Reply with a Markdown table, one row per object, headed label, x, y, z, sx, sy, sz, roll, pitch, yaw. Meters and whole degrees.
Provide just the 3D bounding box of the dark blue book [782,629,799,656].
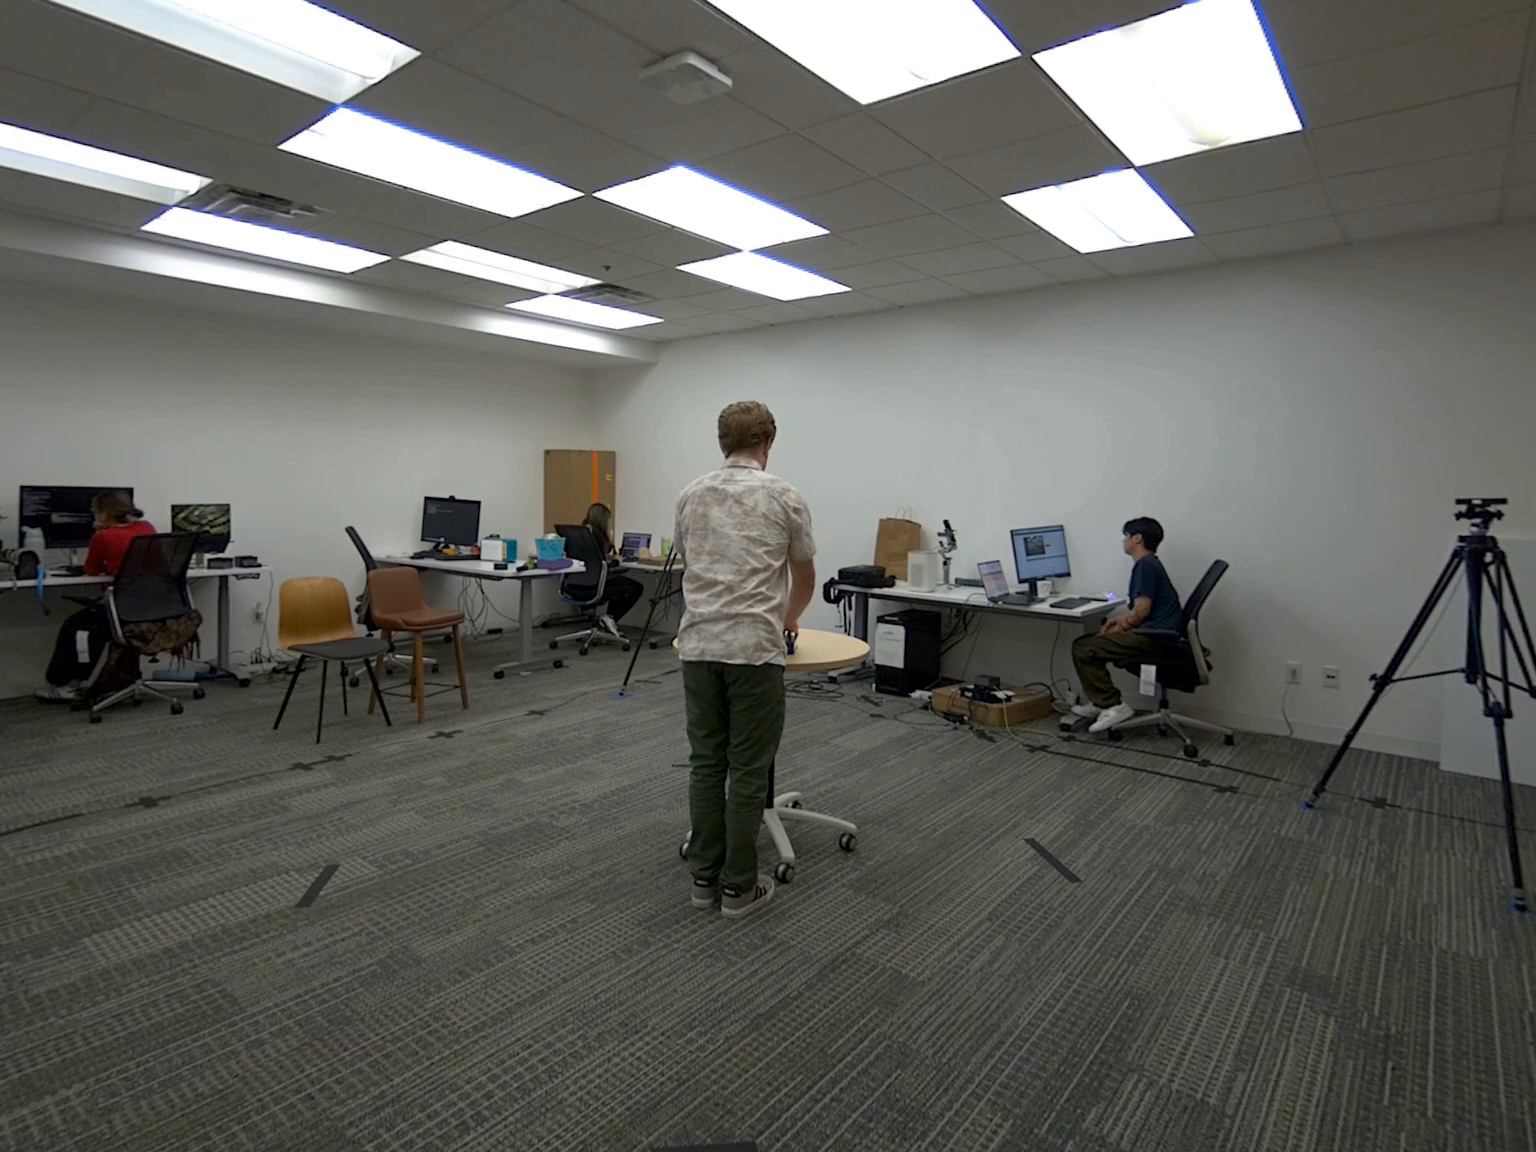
| label | x | y | z | sx | sy | sz | roll | pitch | yaw |
| --- | --- | --- | --- | --- | --- | --- | --- | --- | --- |
| dark blue book | -0.021 | 0.253 | 3.207 | 0.247 | 0.045 | 0.162 | 0 | 5 | 8 |
